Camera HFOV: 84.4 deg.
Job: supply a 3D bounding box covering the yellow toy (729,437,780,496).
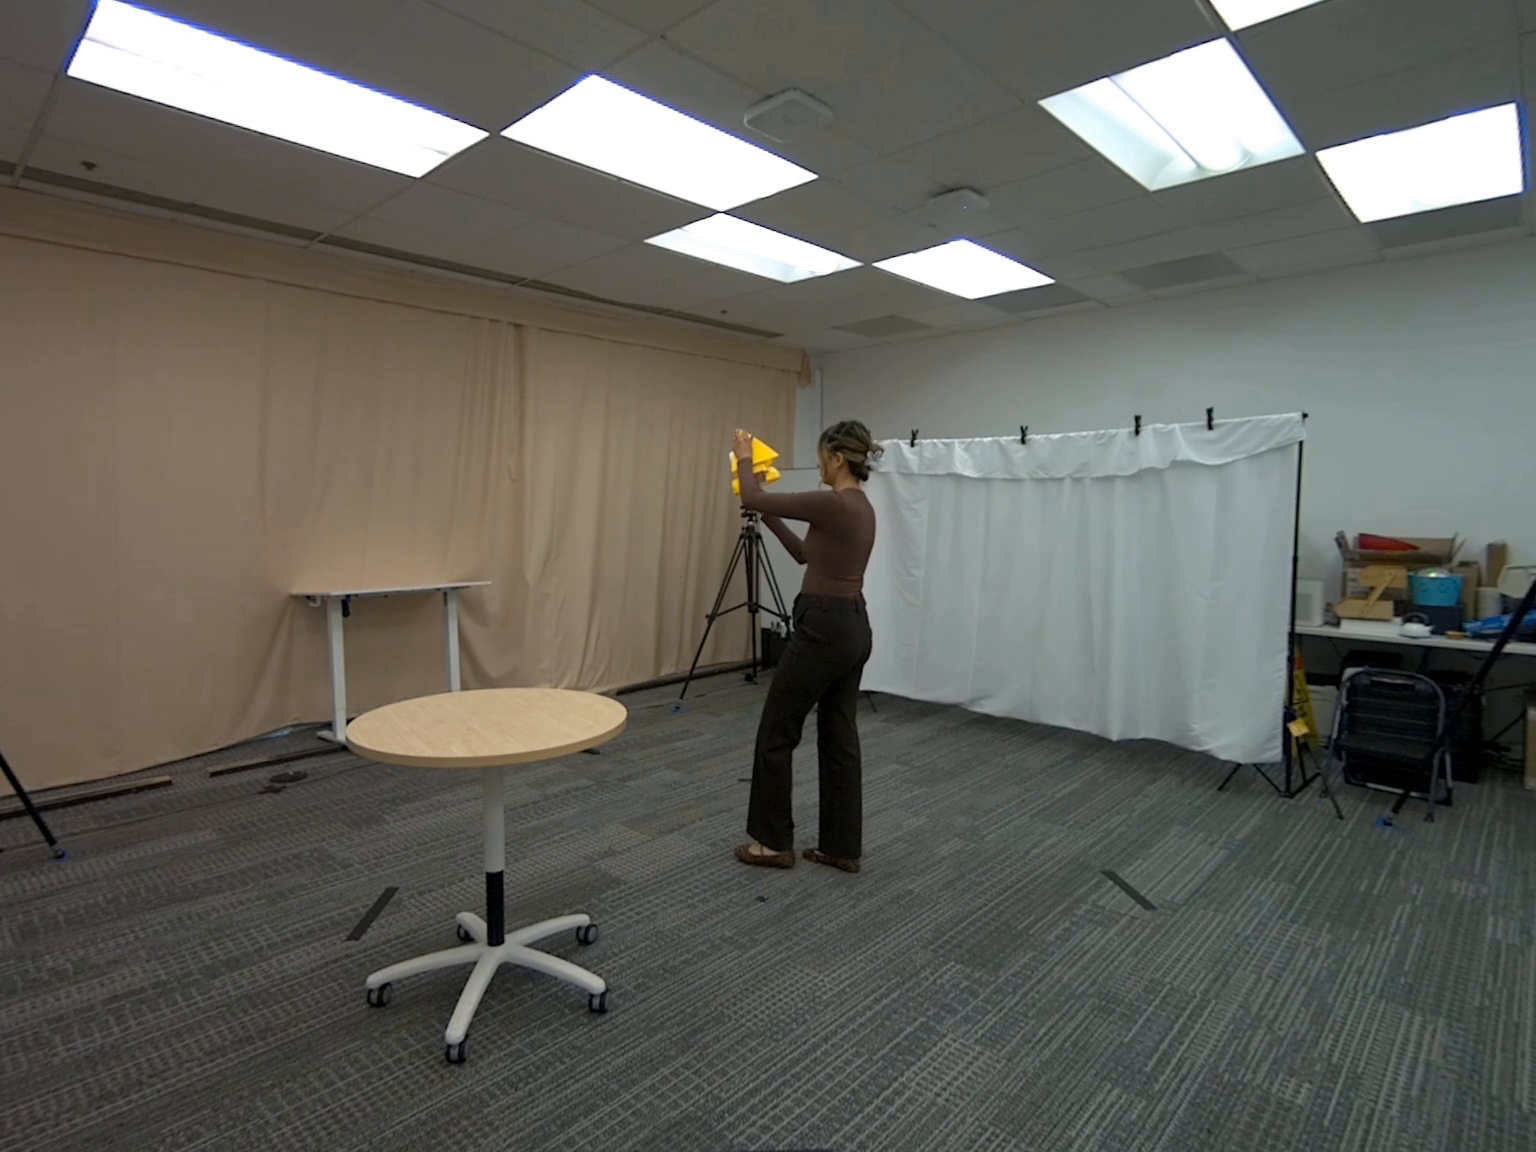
[{"bbox_3d":[-0.086,-0.476,3.447,0.203,0.231,0.195,-20,-1,-12],"label":"yellow toy"}]
